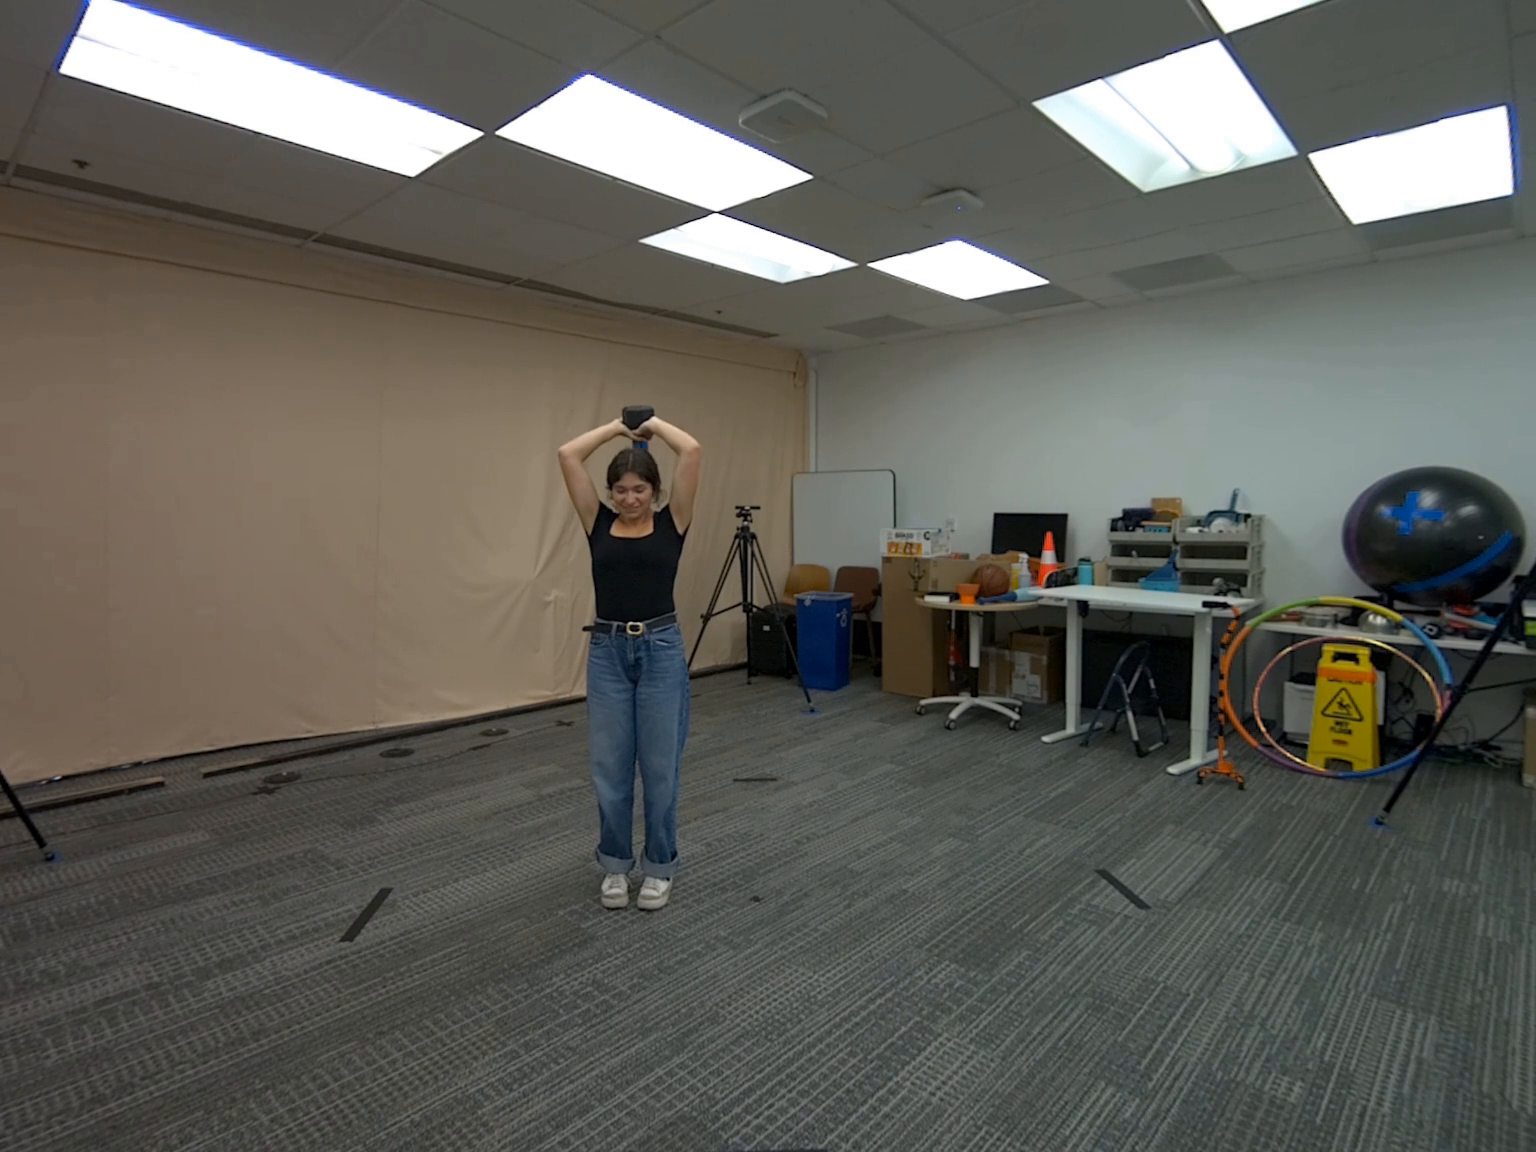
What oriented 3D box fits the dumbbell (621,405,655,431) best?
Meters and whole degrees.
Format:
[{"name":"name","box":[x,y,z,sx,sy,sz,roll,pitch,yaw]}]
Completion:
[{"name":"dumbbell","box":[-0.478,-0.486,3.136,0.112,0.291,0.120,9,17,37]}]
